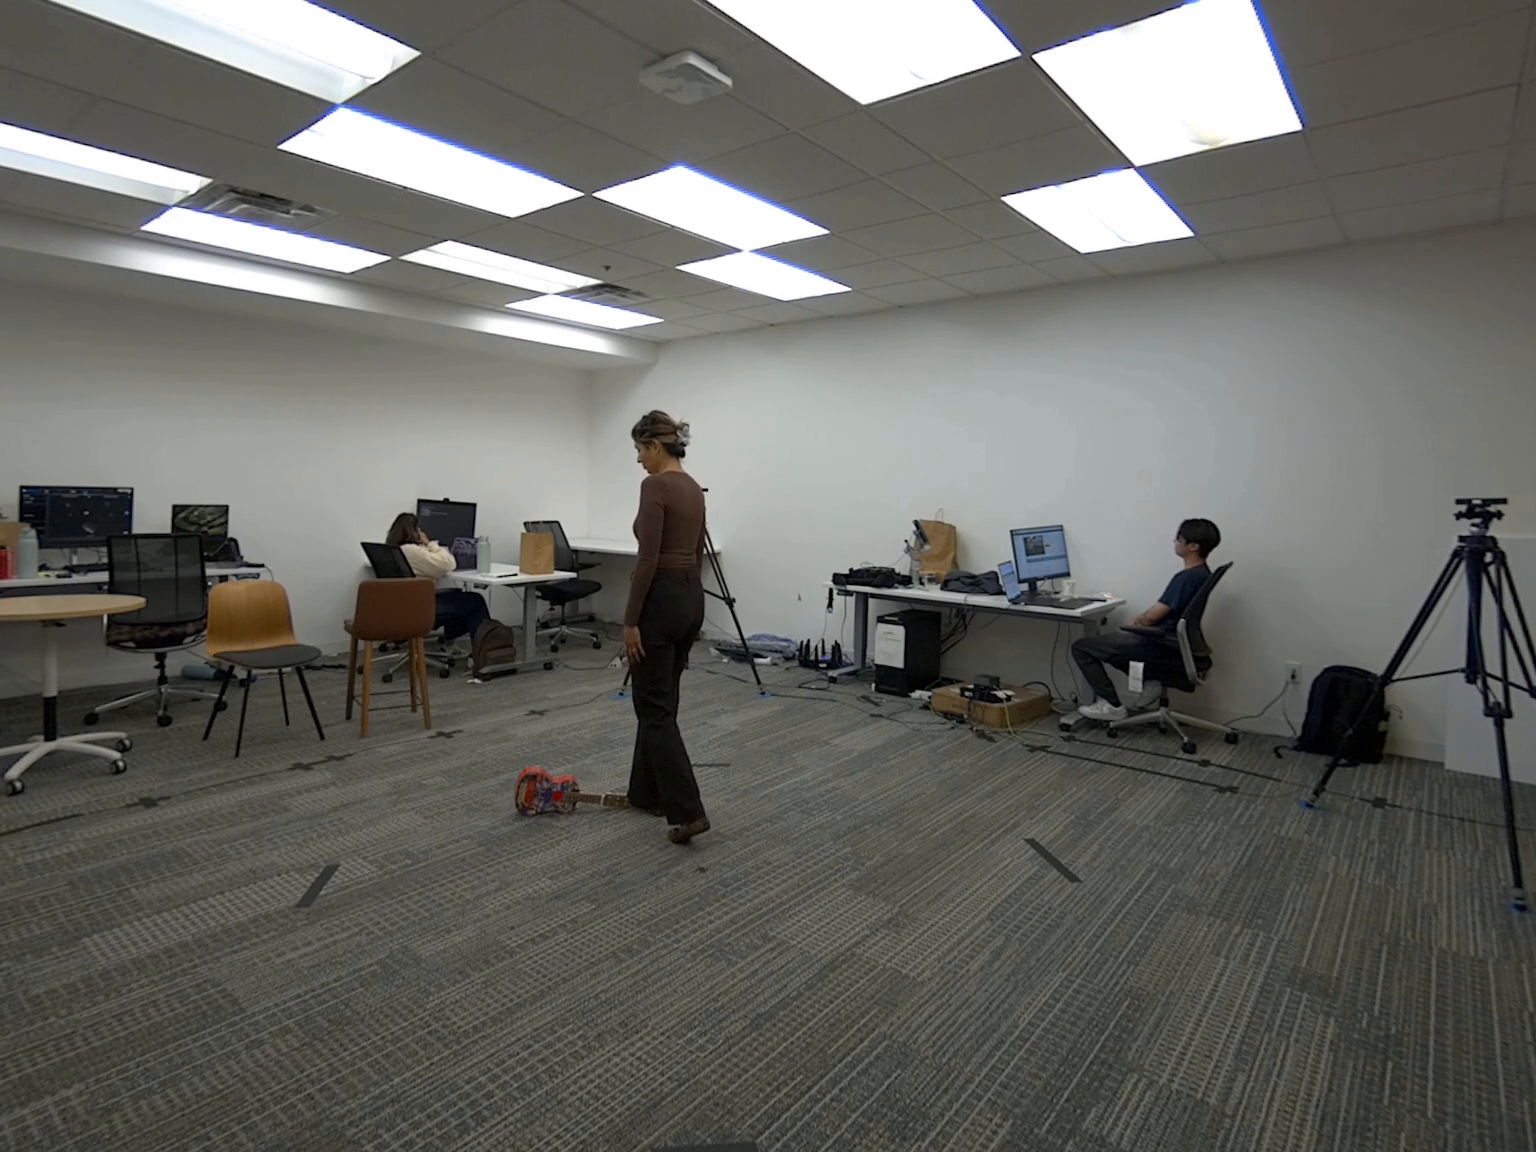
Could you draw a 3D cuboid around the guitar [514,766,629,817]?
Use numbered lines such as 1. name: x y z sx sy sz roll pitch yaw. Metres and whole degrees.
1. guitar: -0.860 0.964 3.664 0.487 0.193 0.072 19 0 -17
